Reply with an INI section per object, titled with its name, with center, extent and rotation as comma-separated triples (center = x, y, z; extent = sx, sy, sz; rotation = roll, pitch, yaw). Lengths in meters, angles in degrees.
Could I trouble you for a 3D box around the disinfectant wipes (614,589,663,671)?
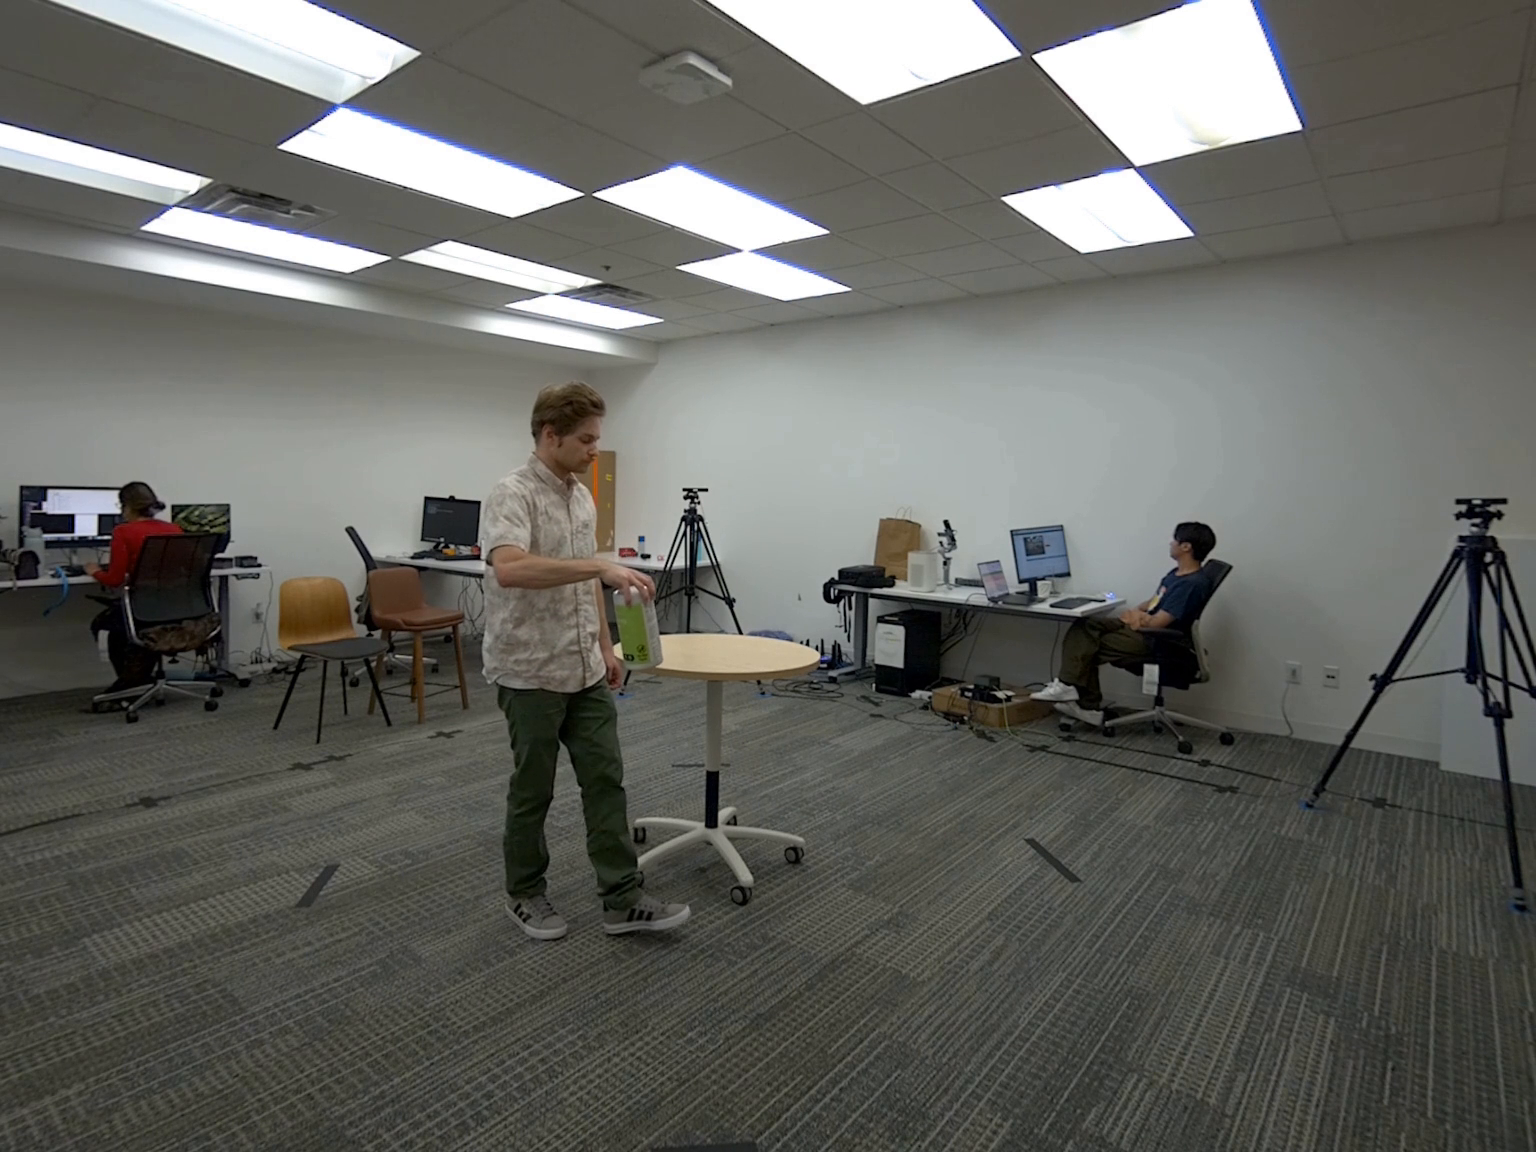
[disinfectant wipes]
center = -0.366, 0.142, 2.353
extent = 0.118, 0.215, 0.119
rotation = -7, 9, -1
